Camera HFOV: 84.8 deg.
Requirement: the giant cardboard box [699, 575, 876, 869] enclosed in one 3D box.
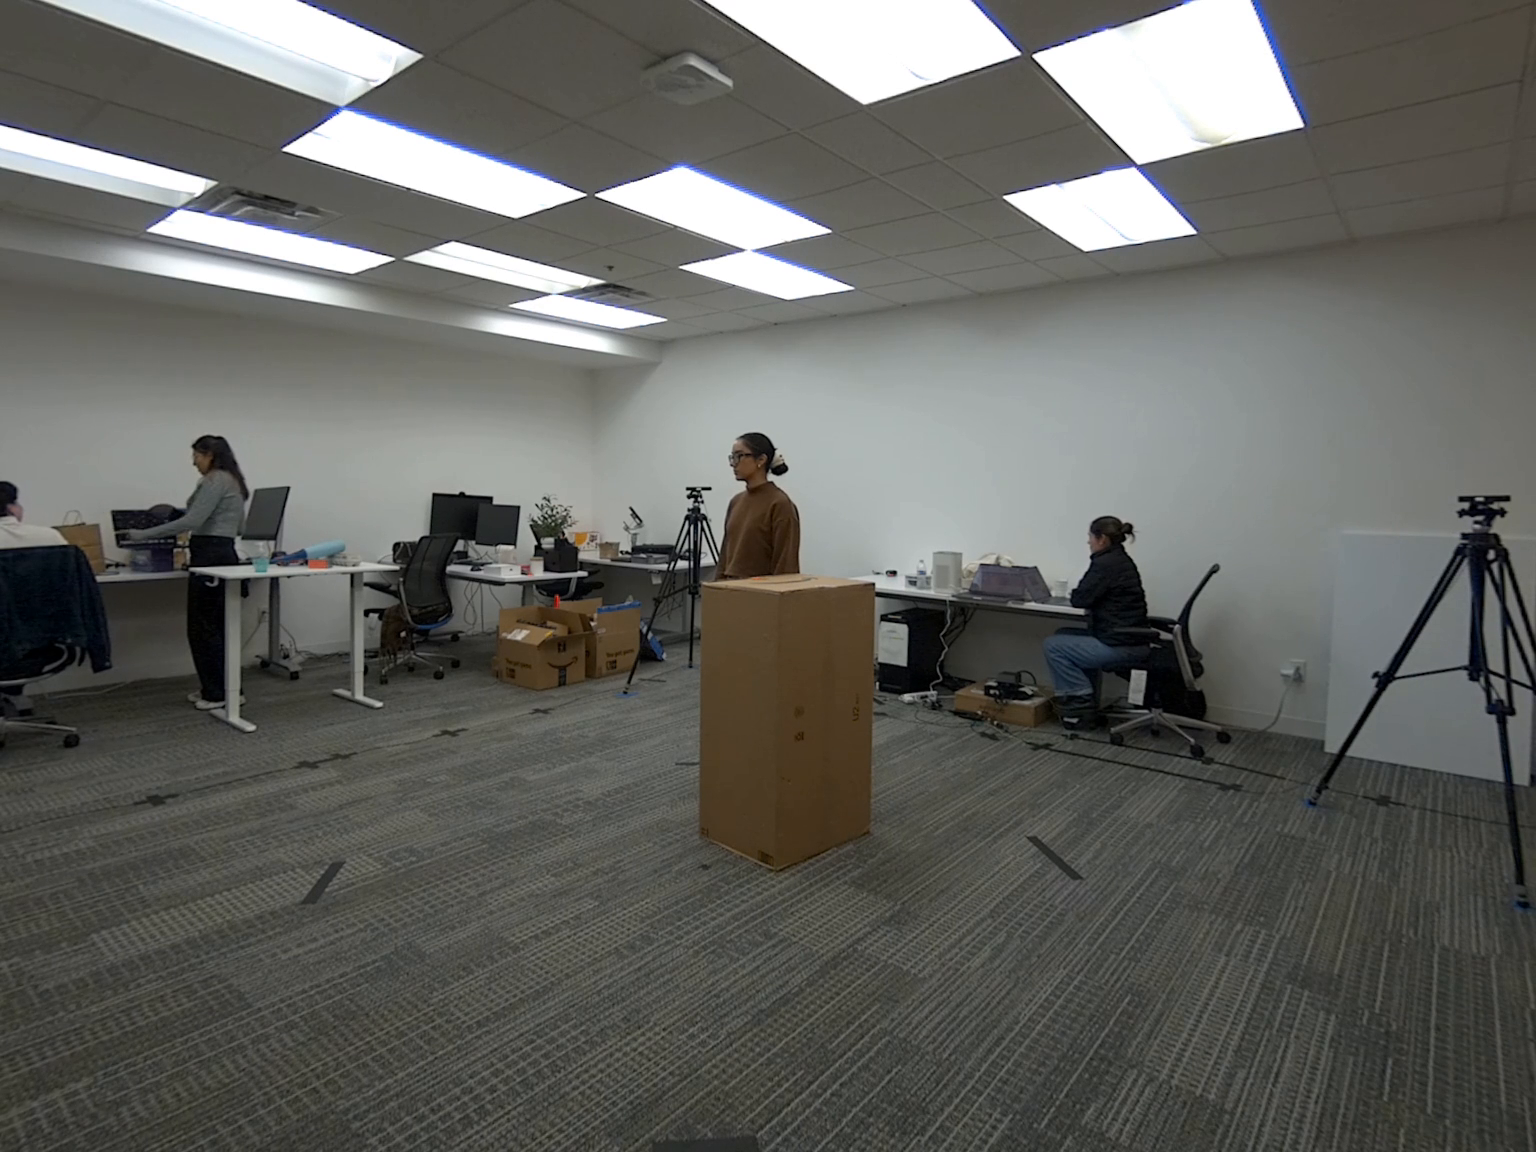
[{"bbox_3d":[0.070,0.533,3.408,0.441,1.023,0.560,4,5,44],"label":"giant cardboard box"}]
